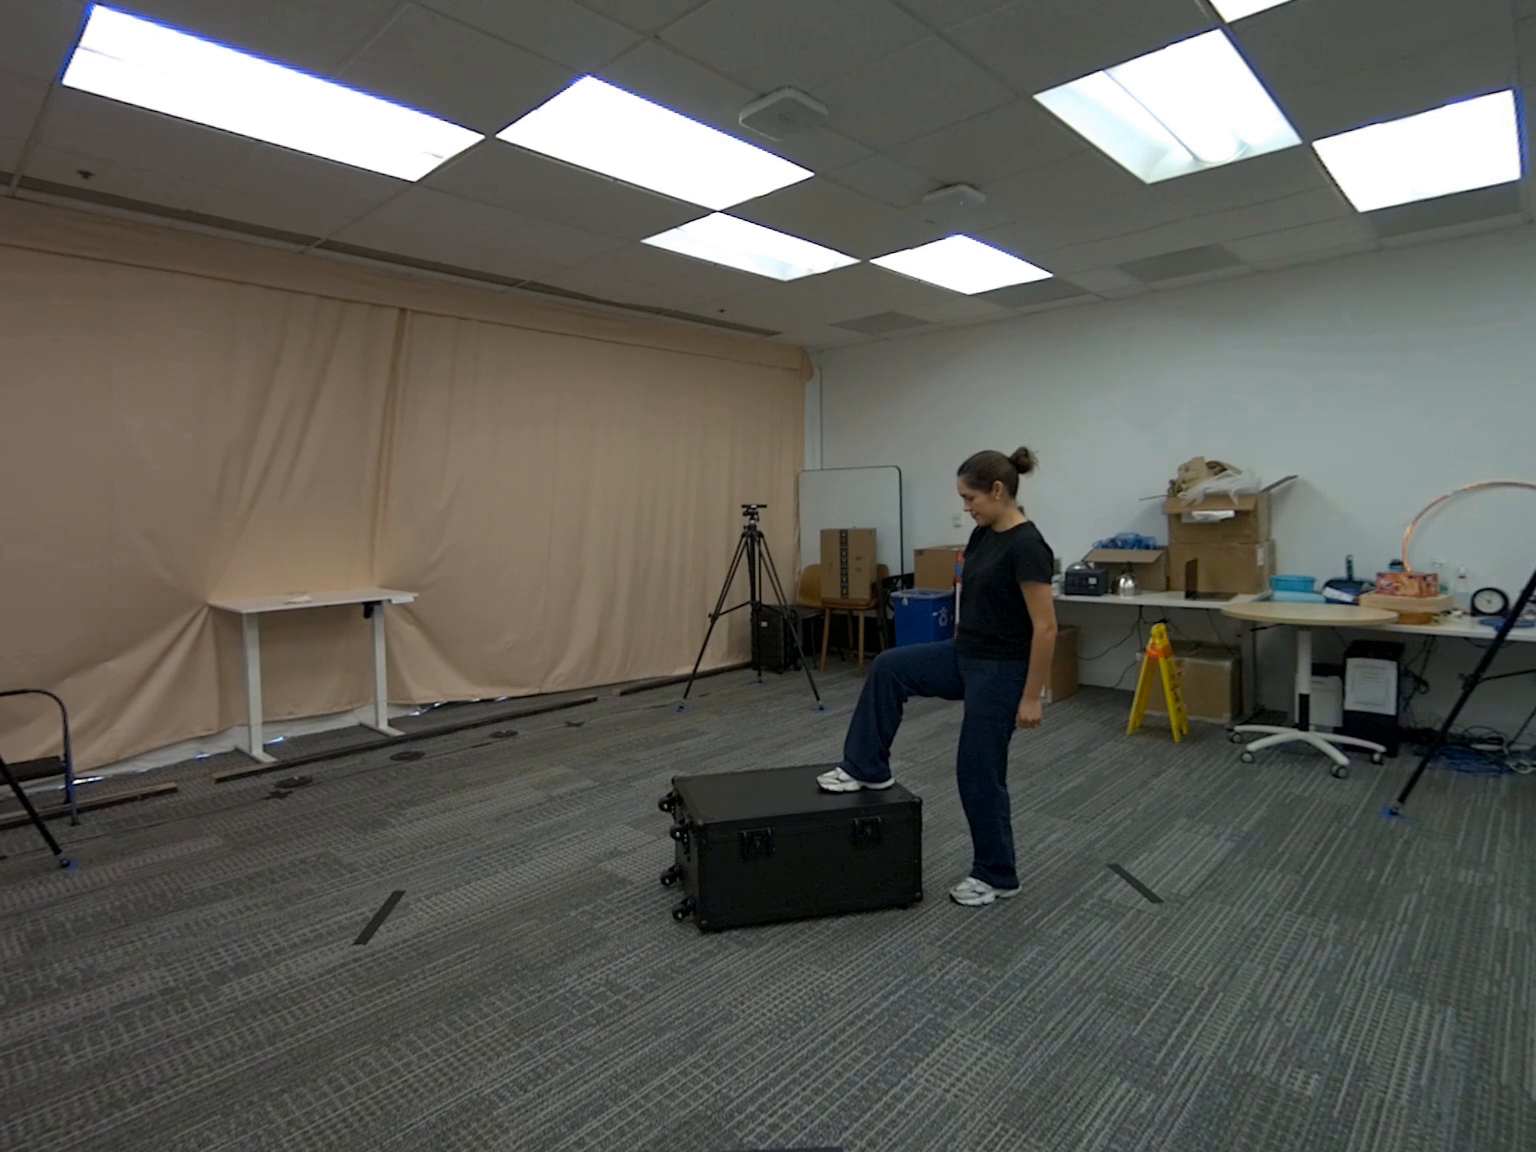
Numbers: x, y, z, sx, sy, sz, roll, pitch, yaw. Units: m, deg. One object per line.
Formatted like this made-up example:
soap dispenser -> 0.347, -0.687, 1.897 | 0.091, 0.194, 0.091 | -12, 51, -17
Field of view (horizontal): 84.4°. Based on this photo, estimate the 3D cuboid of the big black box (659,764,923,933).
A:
big black box -> 0.066, 0.941, 3.018 | 0.849, 0.395, 0.530 | -2, 4, -14
